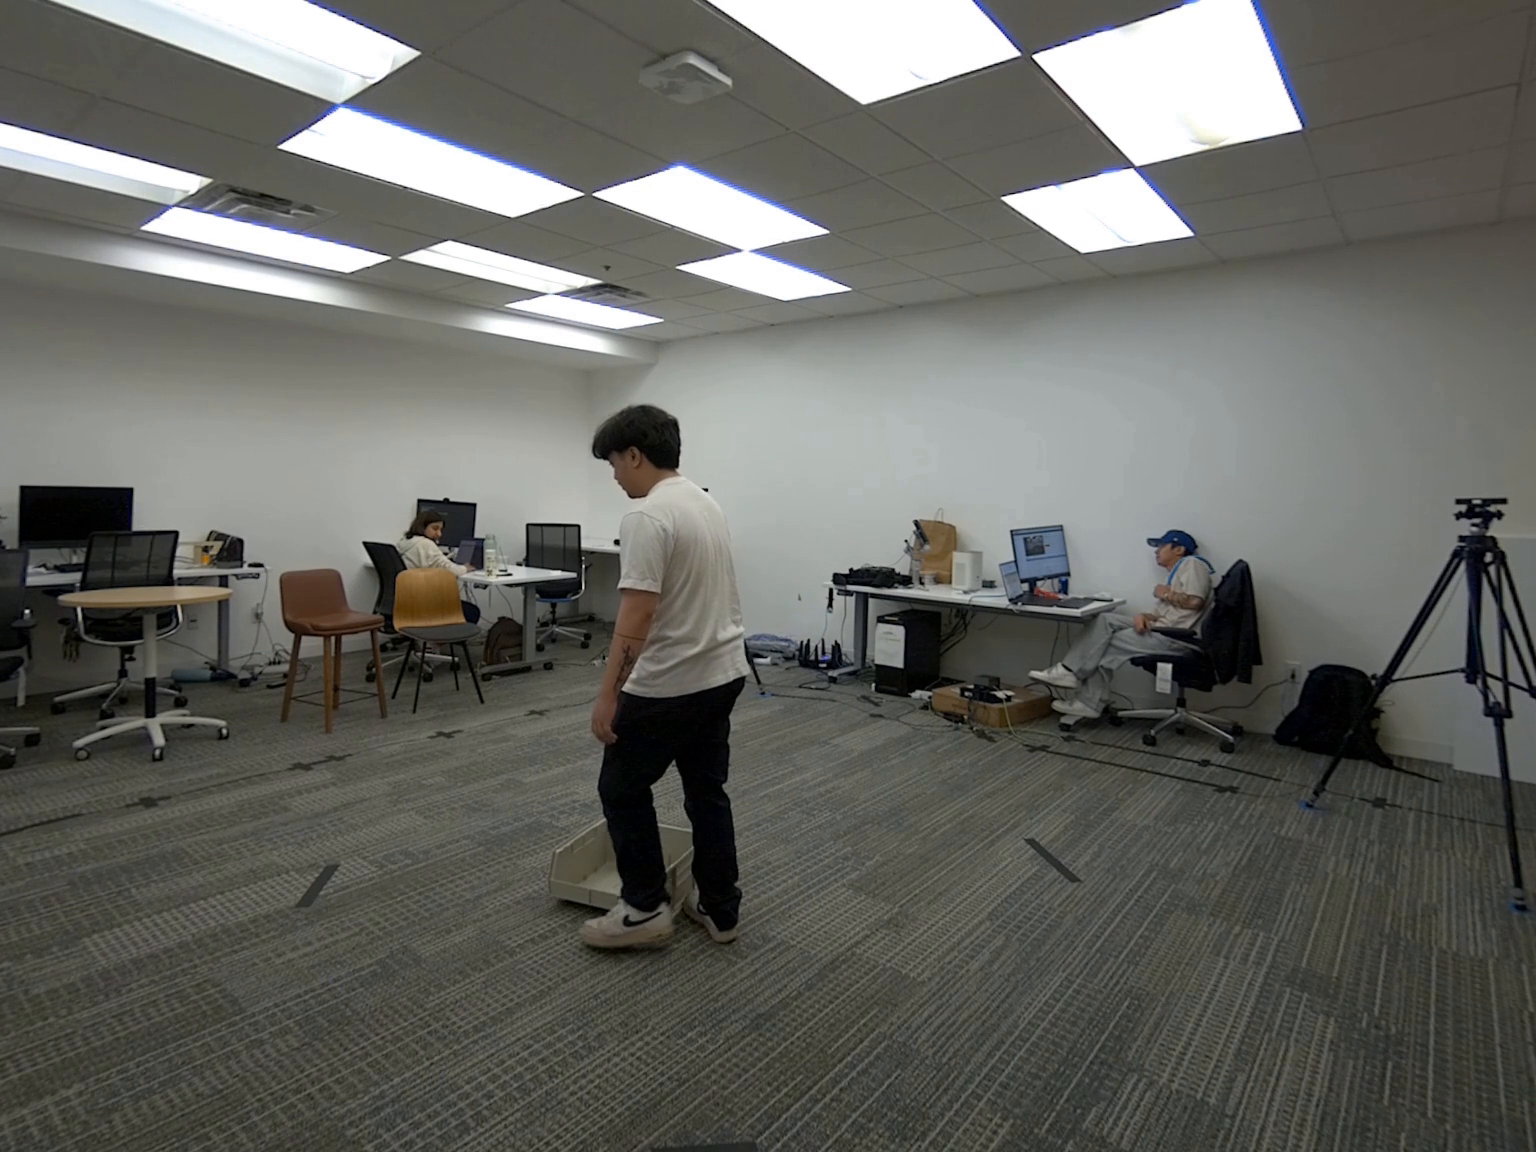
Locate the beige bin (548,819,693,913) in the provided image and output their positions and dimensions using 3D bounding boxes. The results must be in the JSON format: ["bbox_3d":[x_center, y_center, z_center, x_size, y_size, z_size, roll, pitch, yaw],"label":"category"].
[{"bbox_3d":[-0.480,0.994,2.899,0.432,0.188,0.370,3,4,22],"label":"beige bin"}]
